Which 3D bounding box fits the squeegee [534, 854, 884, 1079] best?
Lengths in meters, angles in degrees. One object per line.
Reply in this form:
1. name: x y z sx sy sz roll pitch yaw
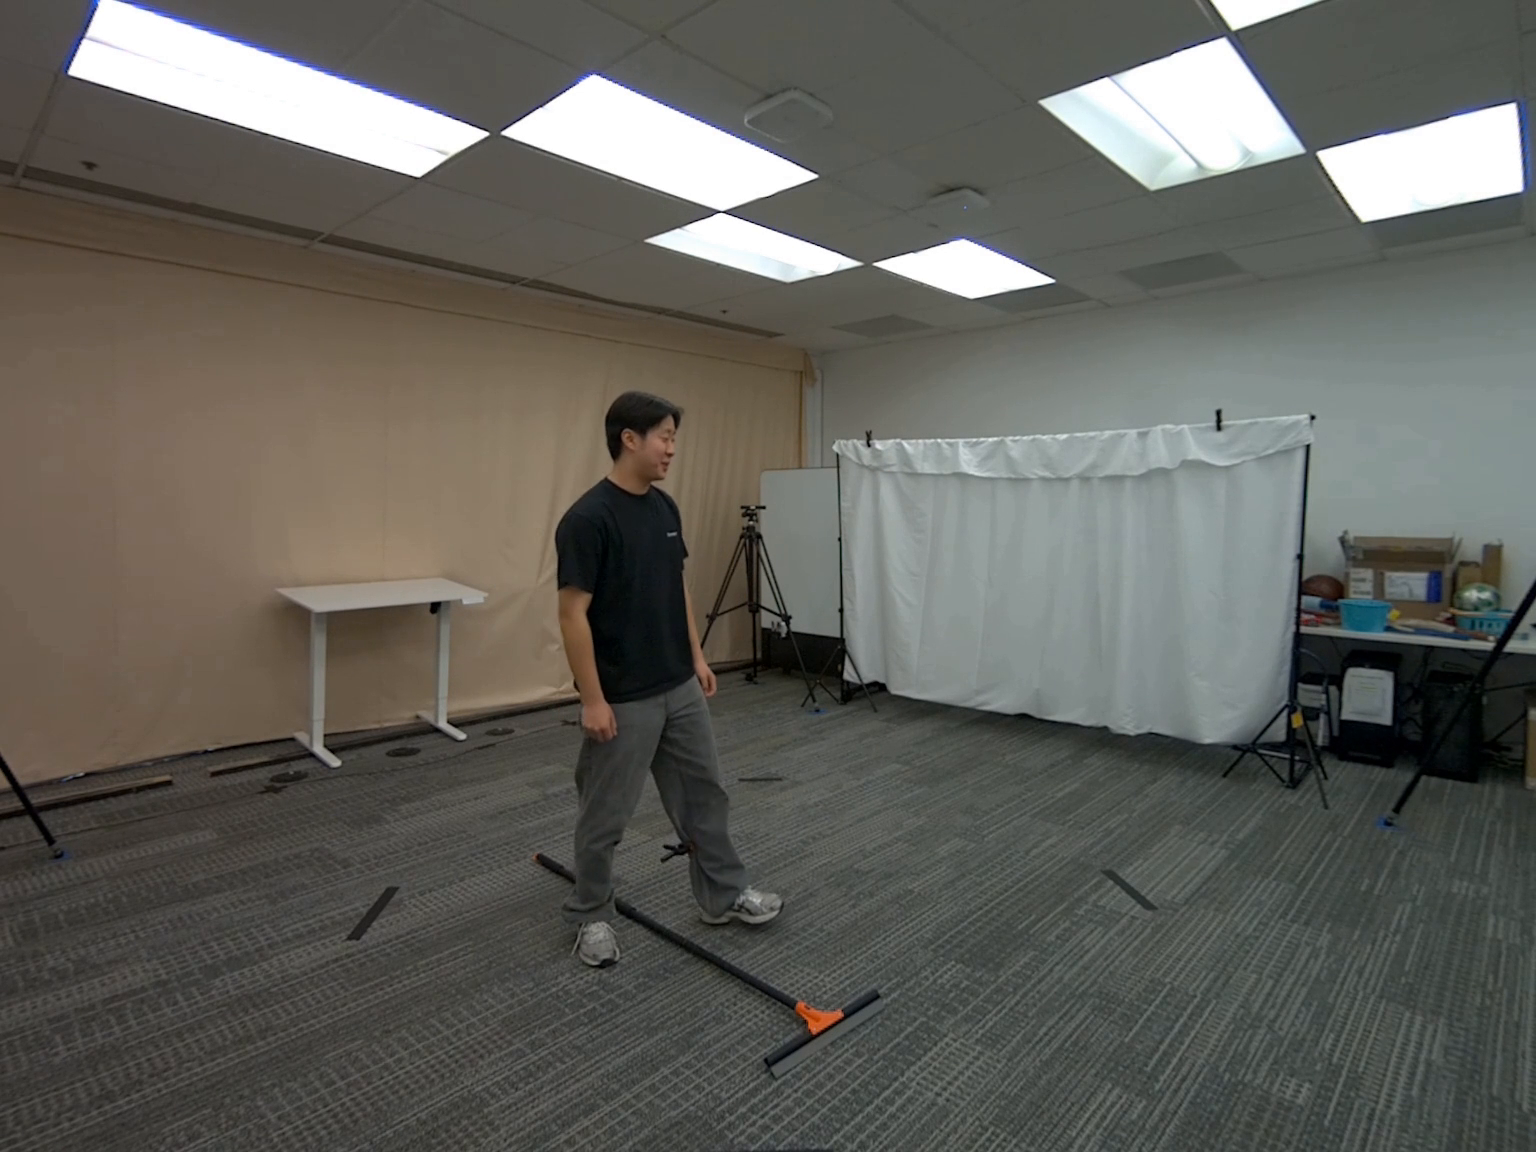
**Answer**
1. squeegee: -0.368 1.135 2.751 0.424 0.053 1.588 -2 3 -43
